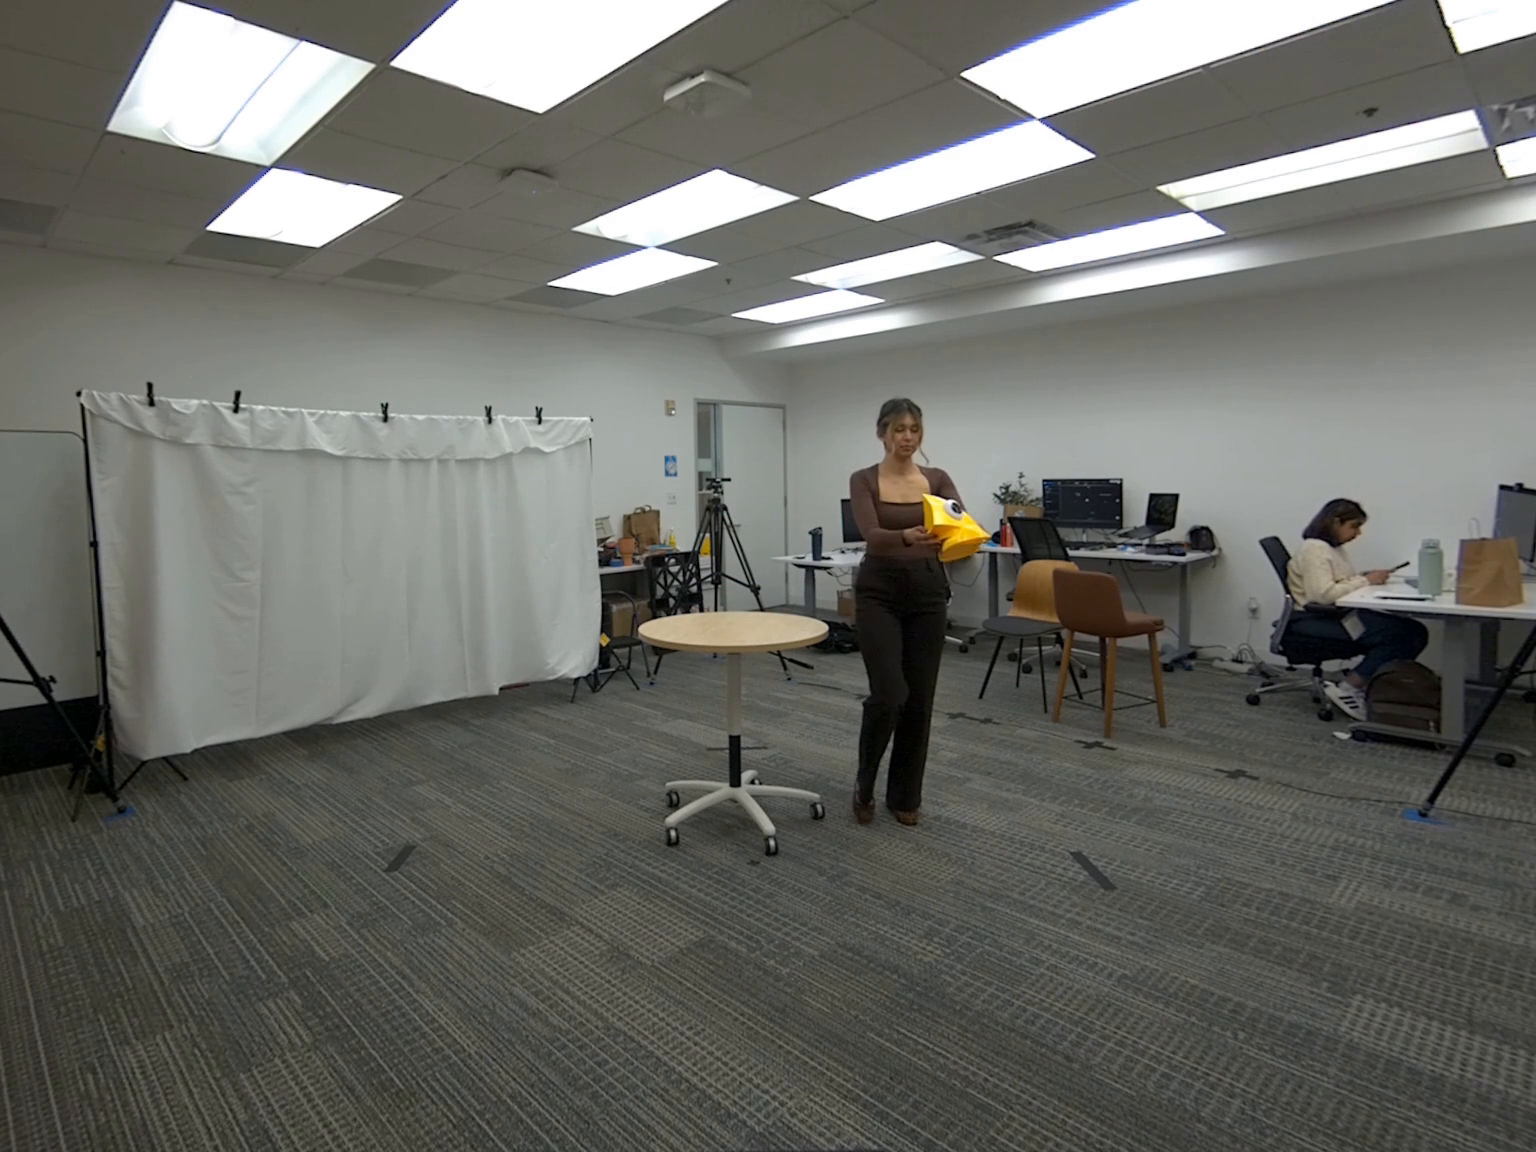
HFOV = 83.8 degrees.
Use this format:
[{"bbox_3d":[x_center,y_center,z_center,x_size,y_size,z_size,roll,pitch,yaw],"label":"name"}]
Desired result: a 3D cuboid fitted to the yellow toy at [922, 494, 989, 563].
[{"bbox_3d":[0.629,-0.192,2.964,0.192,0.236,0.201,-13,-19,-5],"label":"yellow toy"}]
